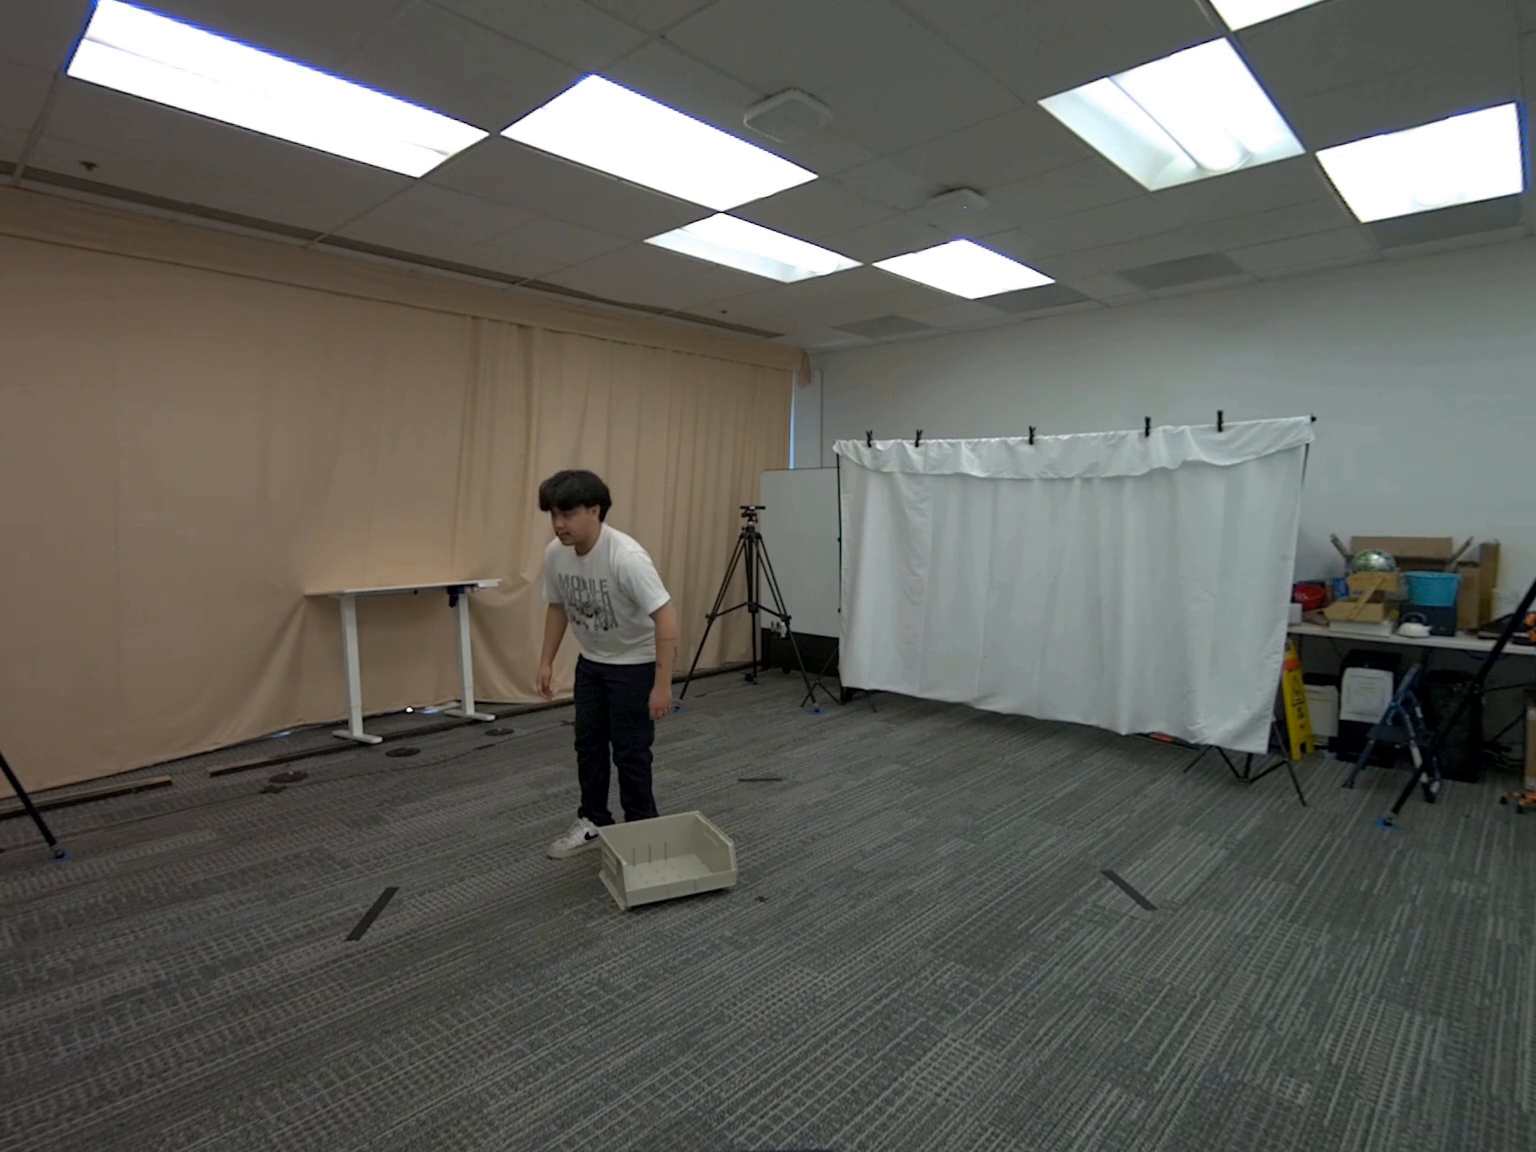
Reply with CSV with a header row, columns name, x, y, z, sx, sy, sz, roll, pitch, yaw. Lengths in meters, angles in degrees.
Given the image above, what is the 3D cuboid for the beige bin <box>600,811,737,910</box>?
name,x,y,z,sx,sy,sz,roll,pitch,yaw
beige bin,-0.378,1.049,3.101,0.412,0.188,0.387,-4,5,-25
